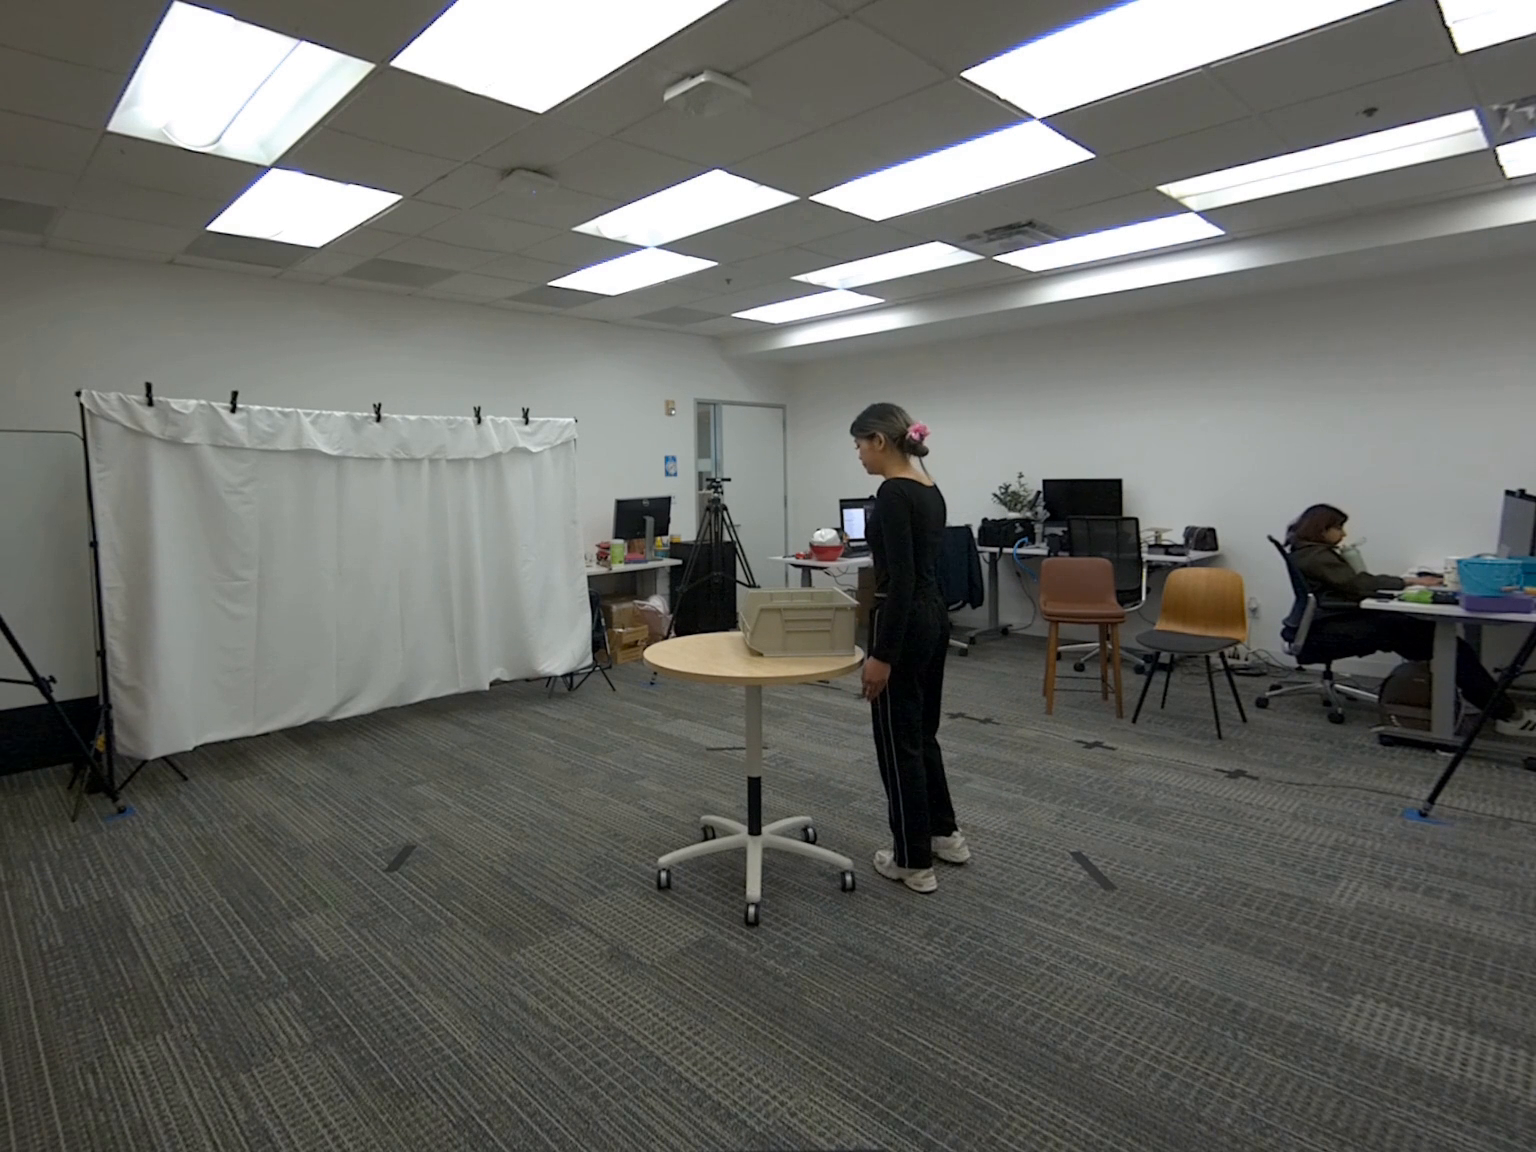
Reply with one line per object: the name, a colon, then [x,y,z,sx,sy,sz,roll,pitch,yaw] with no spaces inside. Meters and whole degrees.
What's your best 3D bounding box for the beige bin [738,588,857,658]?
beige bin: [0.103,0.159,3.086,0.376,0.188,0.426,-1,6,-5]
